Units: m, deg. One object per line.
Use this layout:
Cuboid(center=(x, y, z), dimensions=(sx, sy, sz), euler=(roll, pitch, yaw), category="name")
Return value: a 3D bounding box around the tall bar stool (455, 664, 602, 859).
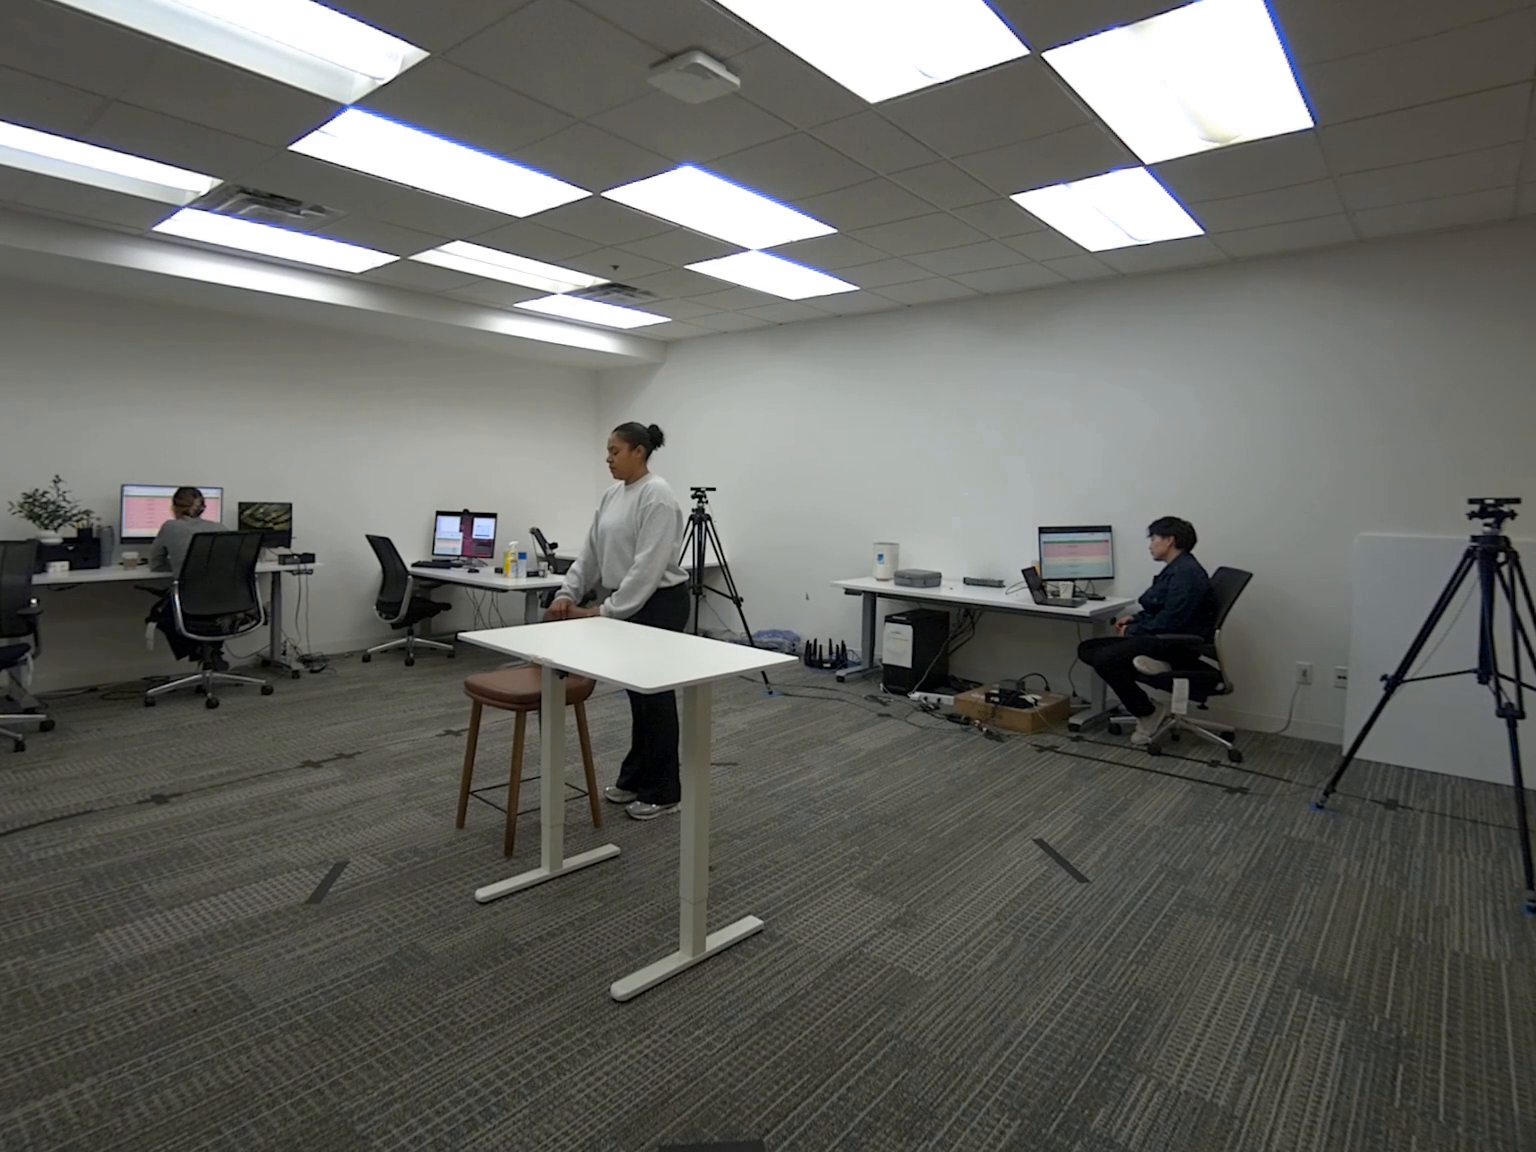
Cuboid(center=(-0.962, 0.585, 3.444), dimensions=(0.472, 0.889, 0.452), euler=(4, 1, 43), category="tall bar stool")
